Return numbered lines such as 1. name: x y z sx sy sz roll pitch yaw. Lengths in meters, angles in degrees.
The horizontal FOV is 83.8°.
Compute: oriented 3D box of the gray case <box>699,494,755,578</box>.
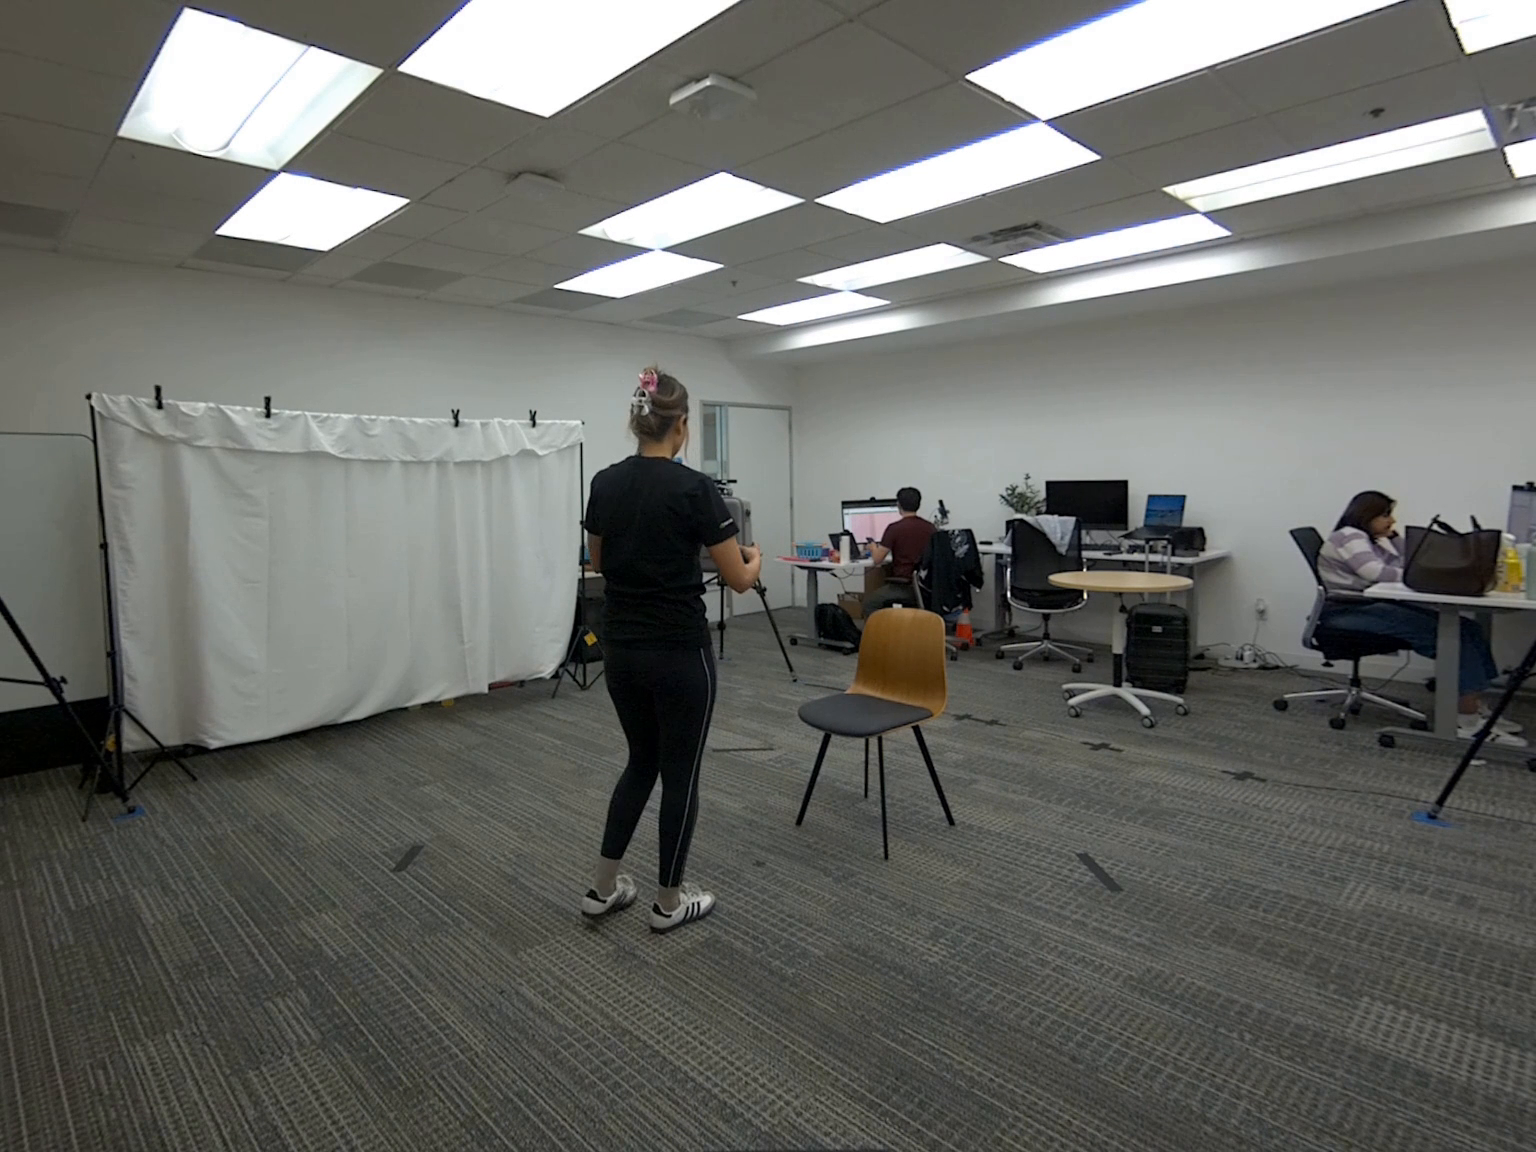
1. gray case: -0.177 -0.146 2.933 0.263 0.260 0.102 1 3 30
